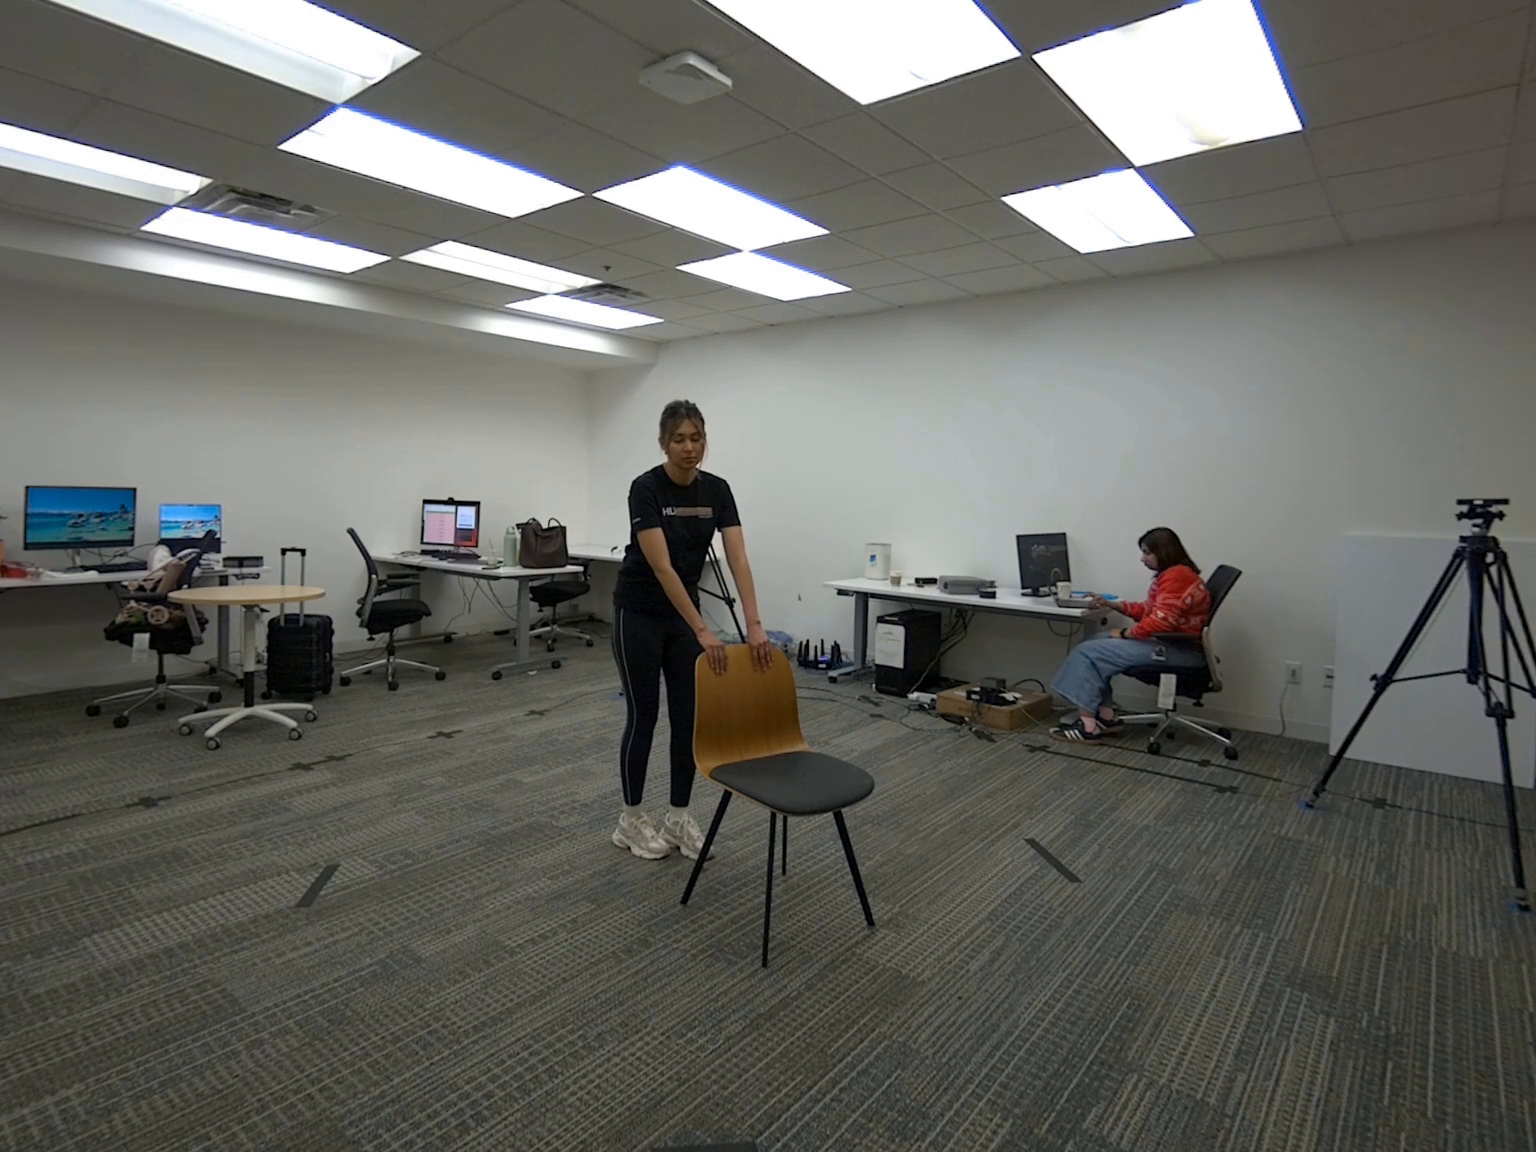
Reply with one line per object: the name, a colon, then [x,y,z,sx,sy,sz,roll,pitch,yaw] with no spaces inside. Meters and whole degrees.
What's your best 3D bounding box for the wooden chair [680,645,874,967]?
wooden chair: [0.035,0.683,2.750,0.464,0.878,0.539,-1,0,-37]
